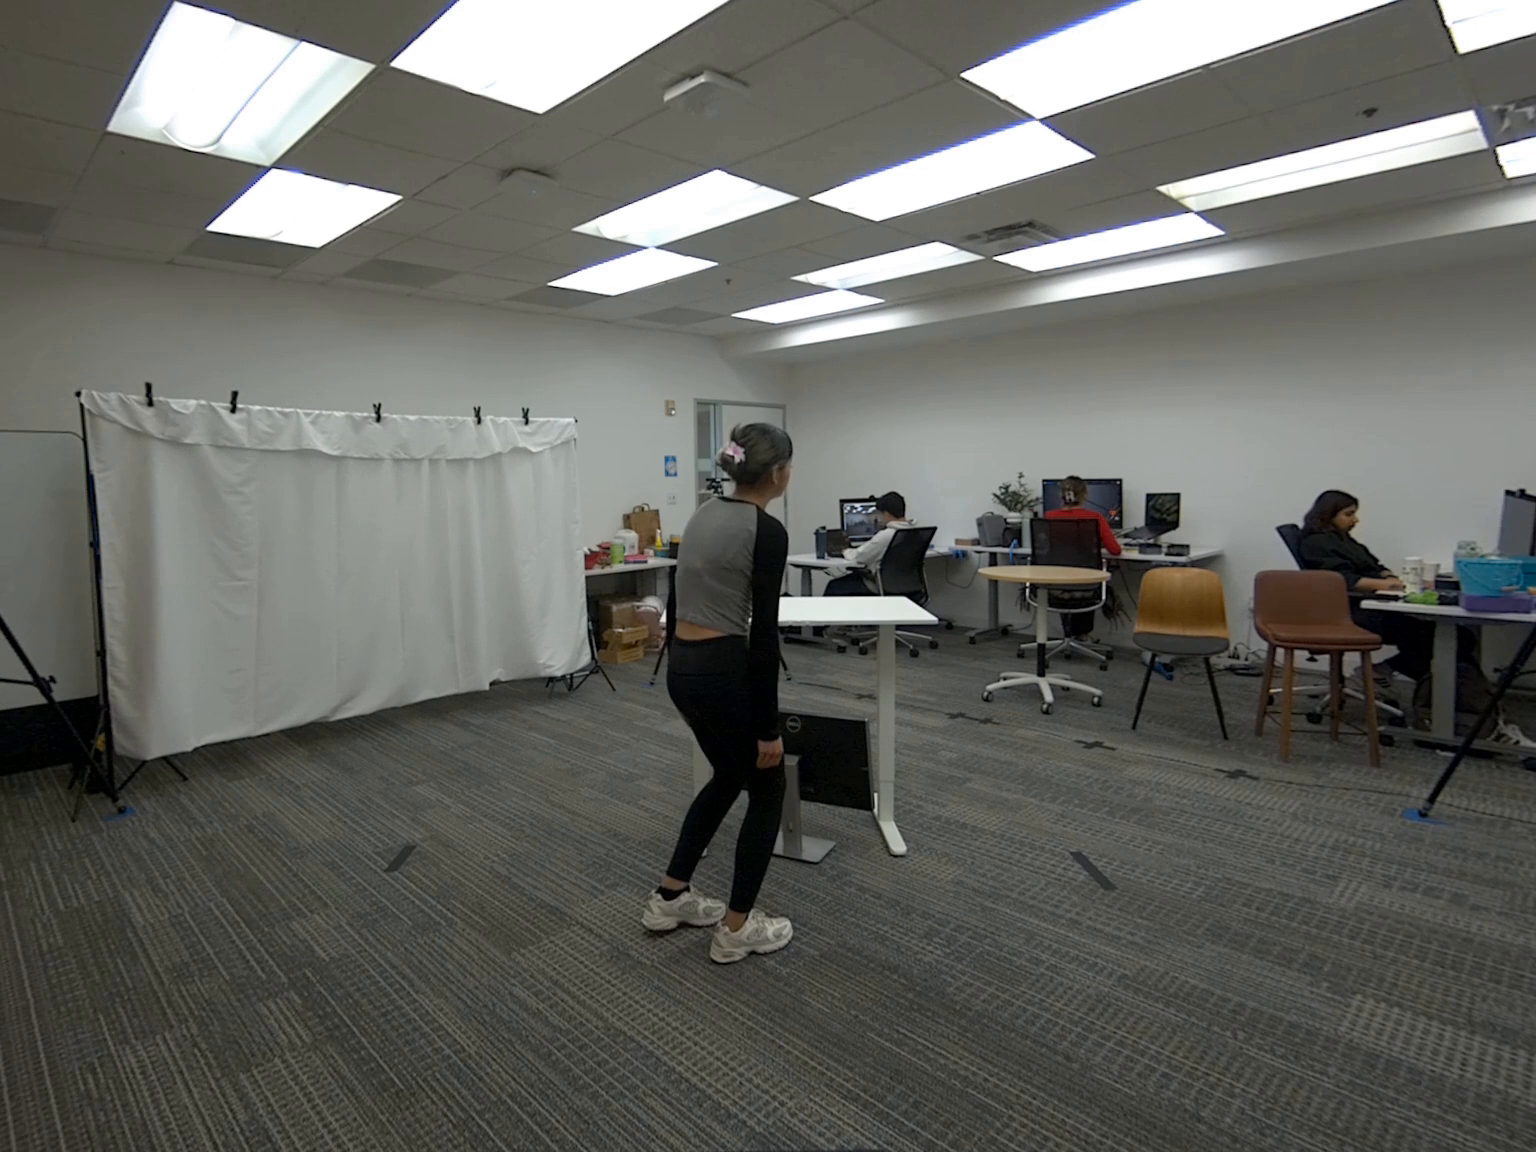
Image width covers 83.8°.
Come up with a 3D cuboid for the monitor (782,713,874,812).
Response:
[{"bbox_3d":[0.112,0.771,3.206,0.552,0.521,0.183,2,2,26],"label":"monitor"}]
